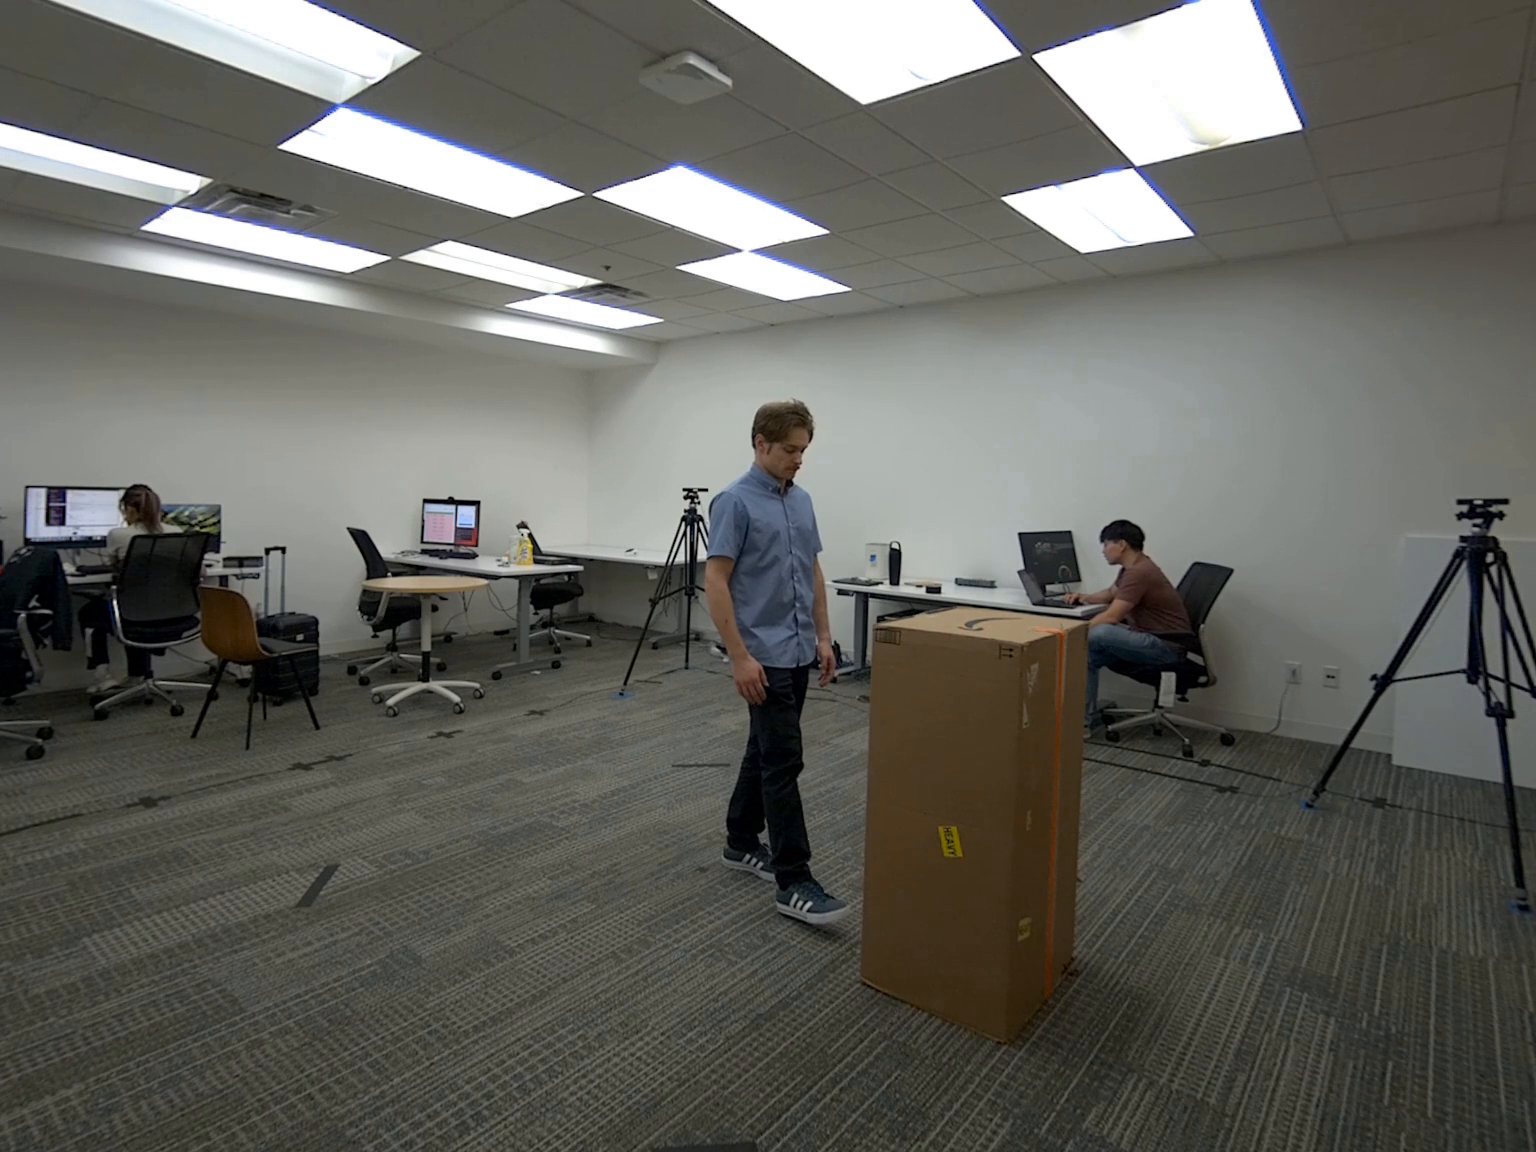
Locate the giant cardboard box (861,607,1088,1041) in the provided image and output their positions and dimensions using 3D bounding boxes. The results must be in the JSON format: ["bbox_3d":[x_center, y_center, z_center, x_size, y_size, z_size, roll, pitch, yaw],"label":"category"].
[{"bbox_3d":[0.610,0.640,2.475,0.440,1.023,0.560,3,3,38],"label":"giant cardboard box"}]
